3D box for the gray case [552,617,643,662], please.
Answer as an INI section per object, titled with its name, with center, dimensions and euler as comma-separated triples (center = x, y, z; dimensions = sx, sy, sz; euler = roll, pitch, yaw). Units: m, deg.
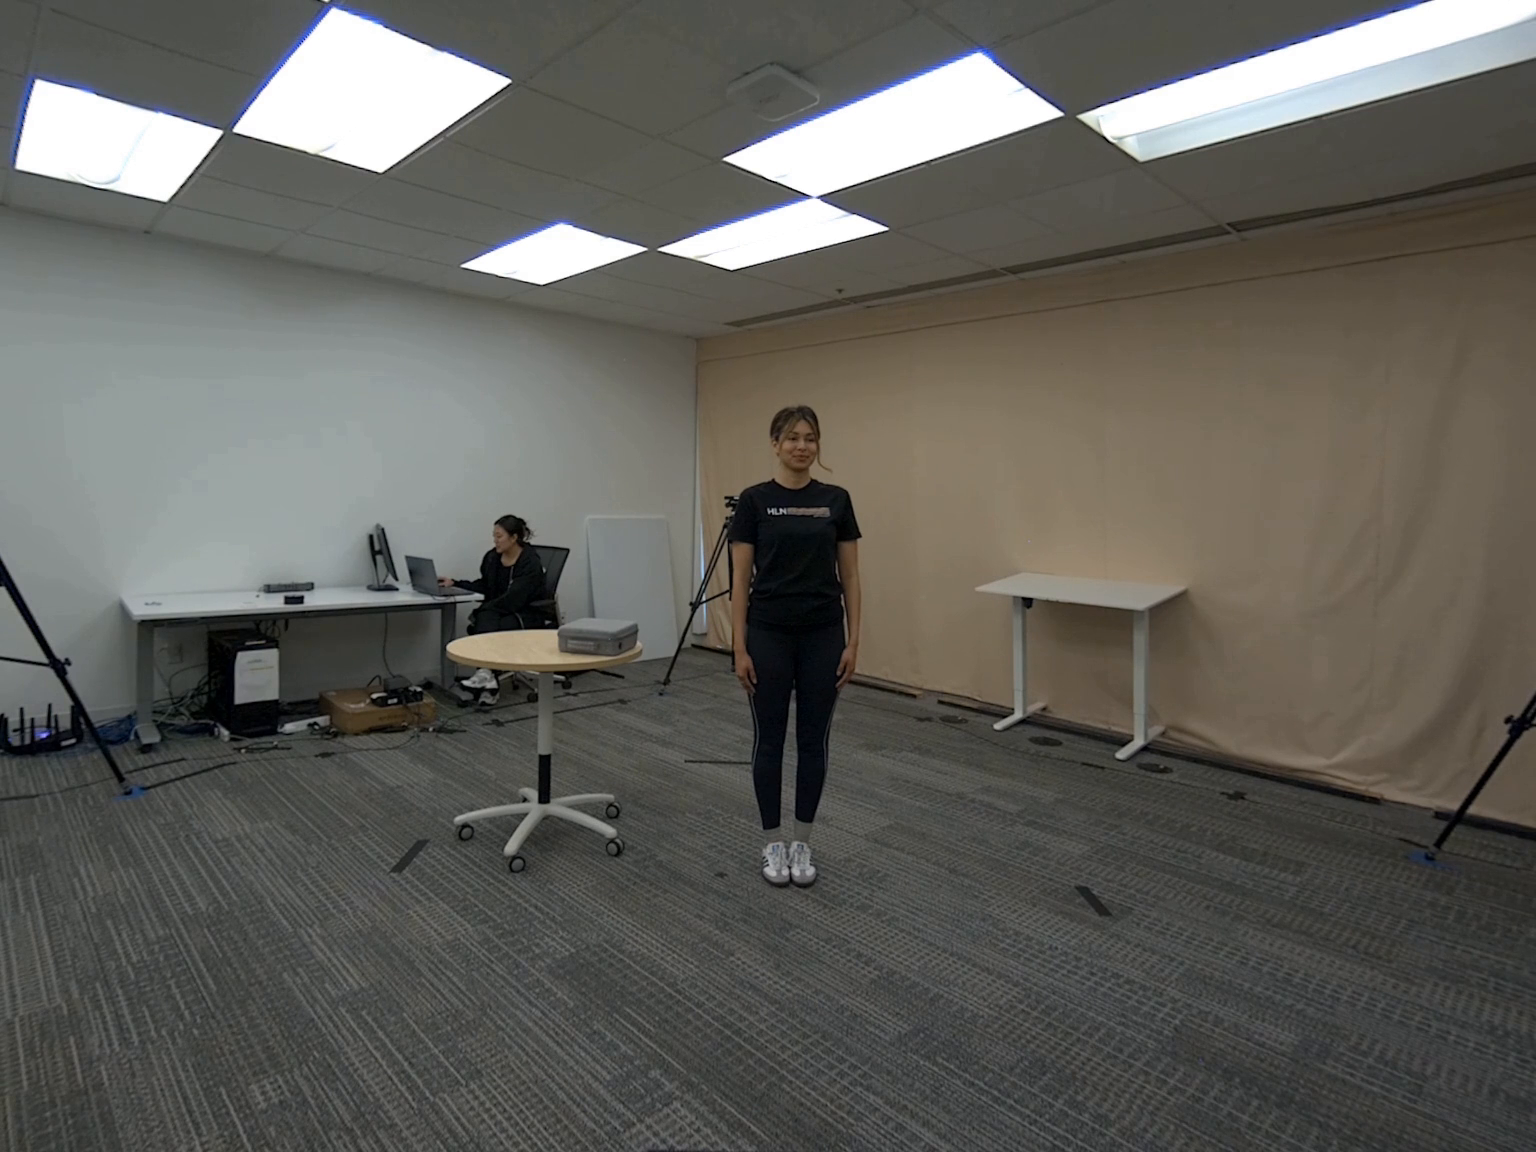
[gray case]
center = -0.664, 0.241, 3.303
dimensions = 0.260, 0.104, 0.258
euler = 5, 6, 16
